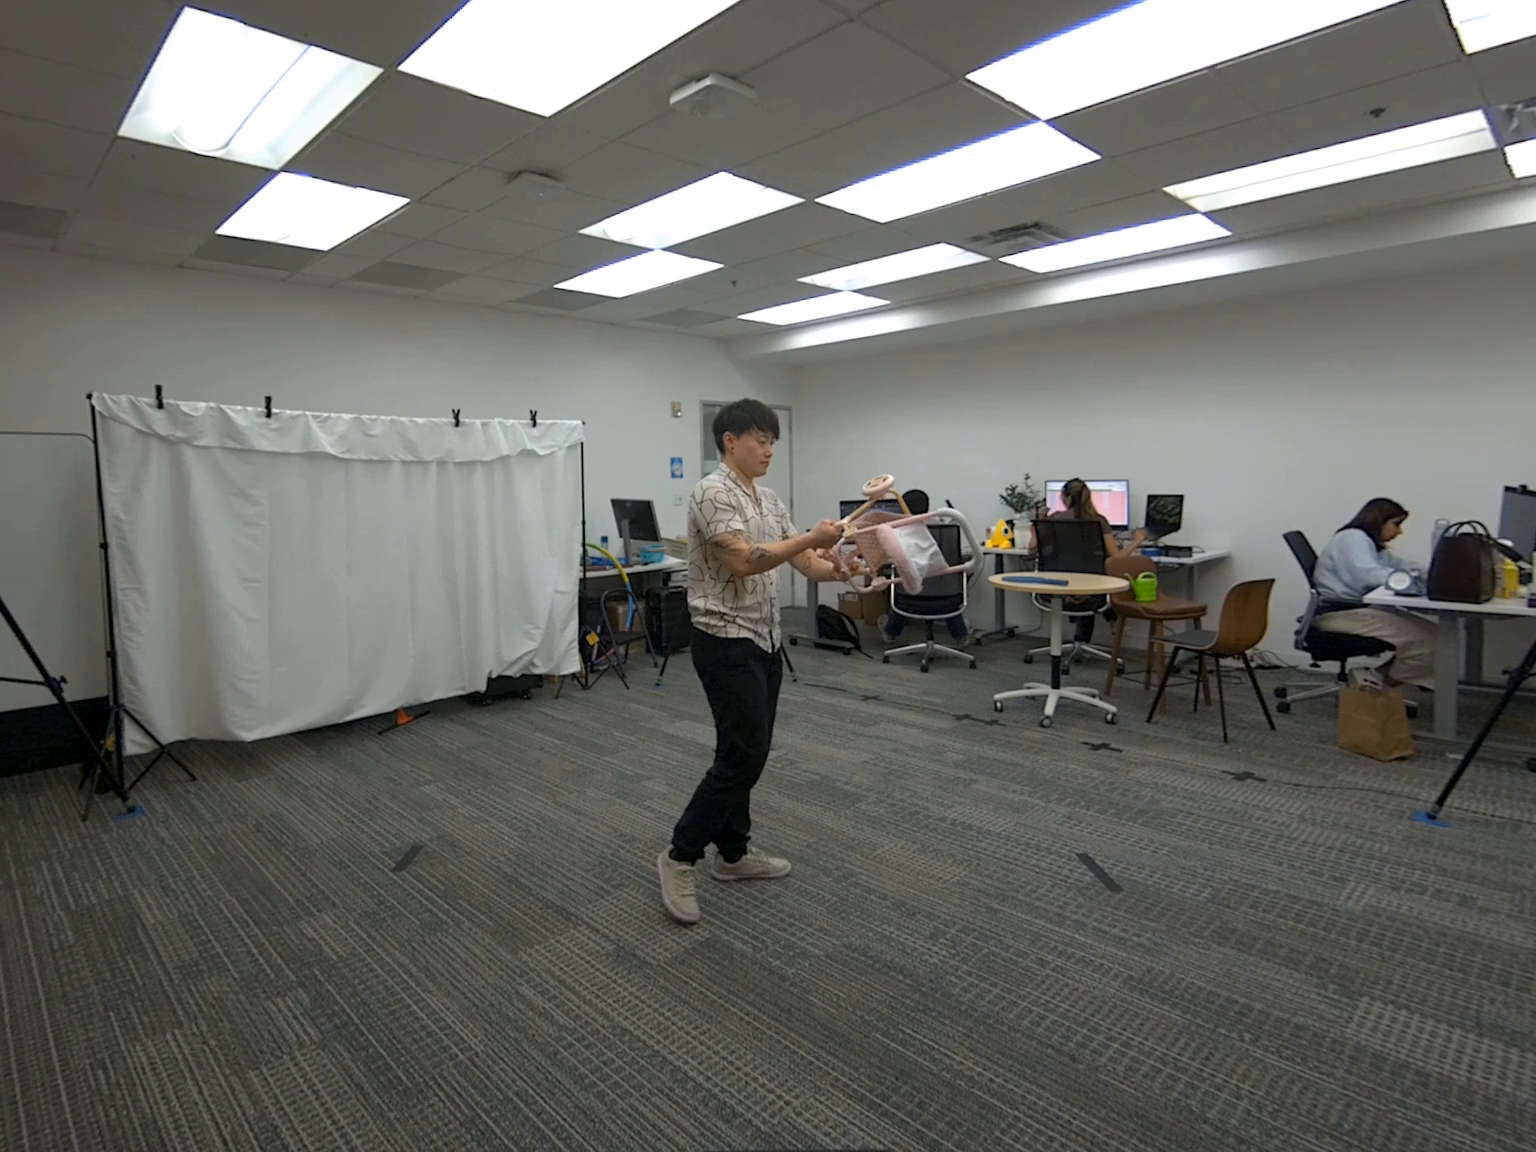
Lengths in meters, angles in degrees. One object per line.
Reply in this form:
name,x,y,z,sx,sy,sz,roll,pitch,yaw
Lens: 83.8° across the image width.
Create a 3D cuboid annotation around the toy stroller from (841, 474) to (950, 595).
toy stroller,0.364,-0.086,2.597,0.340,0.275,0.549,-29,22,-6
